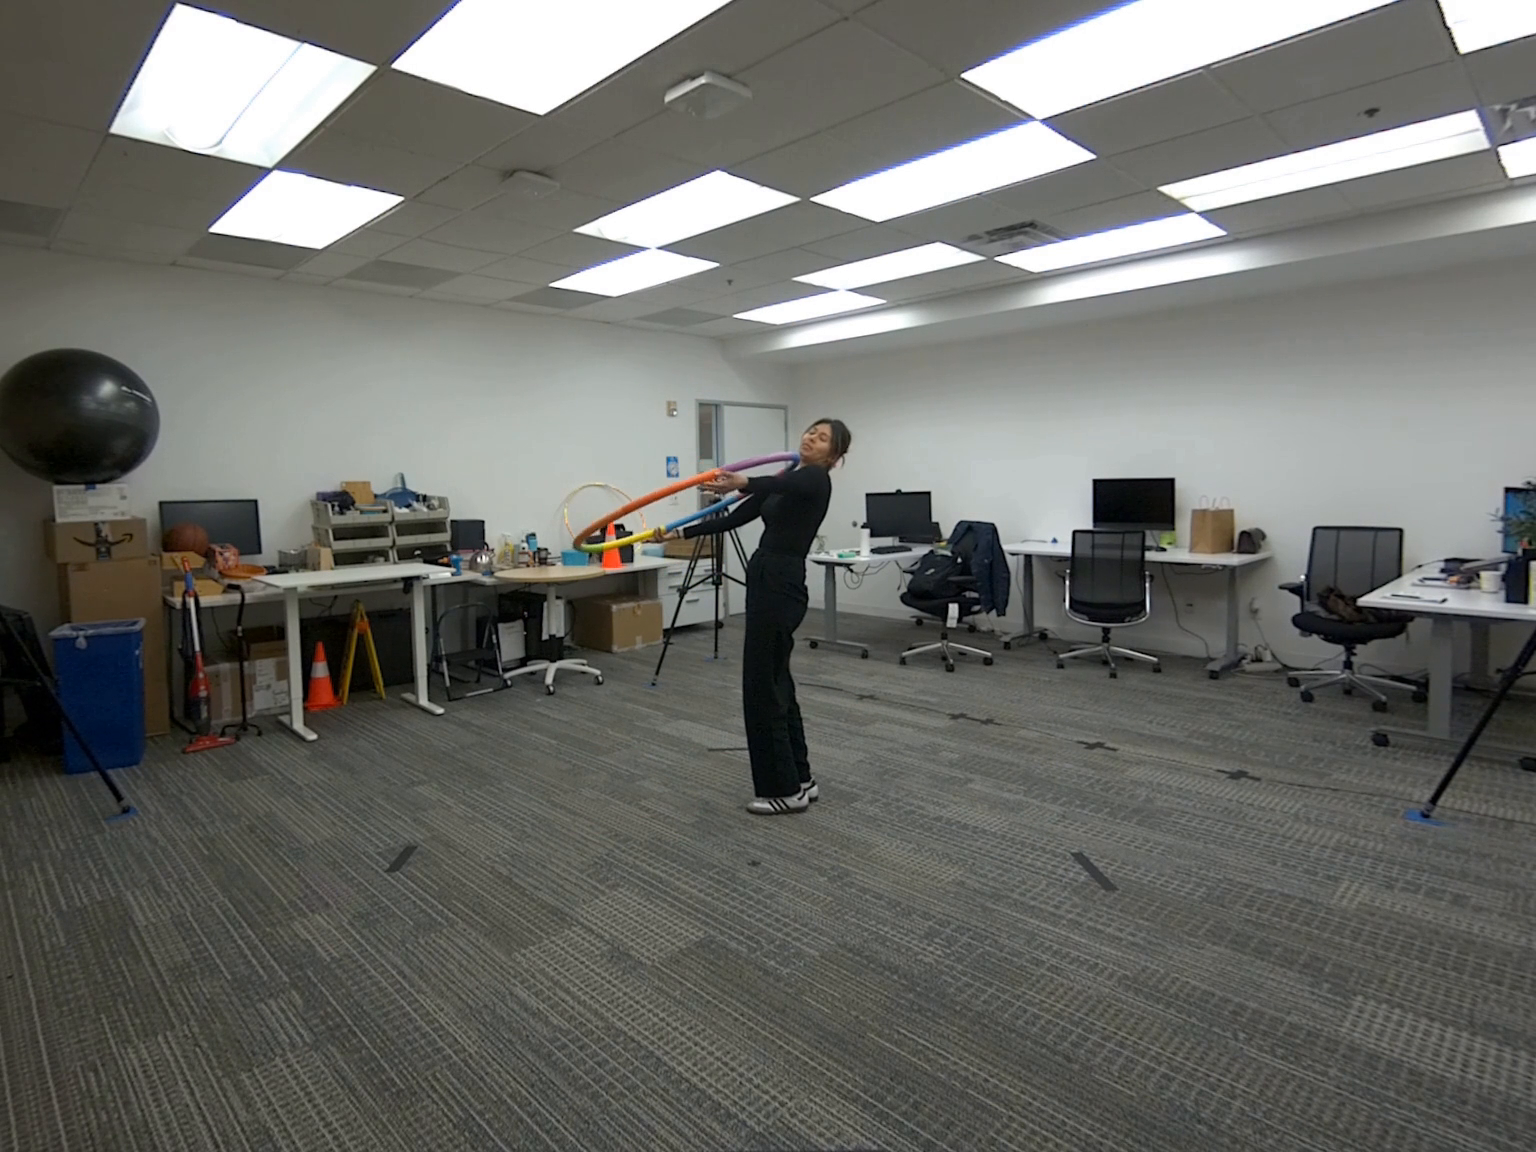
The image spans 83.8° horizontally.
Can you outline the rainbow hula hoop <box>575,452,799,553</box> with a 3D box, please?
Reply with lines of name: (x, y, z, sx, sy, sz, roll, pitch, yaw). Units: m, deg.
rainbow hula hoop: (-0.324, -0.290, 3.474, 0.983, 0.052, 0.981, -24, -3, -4)
